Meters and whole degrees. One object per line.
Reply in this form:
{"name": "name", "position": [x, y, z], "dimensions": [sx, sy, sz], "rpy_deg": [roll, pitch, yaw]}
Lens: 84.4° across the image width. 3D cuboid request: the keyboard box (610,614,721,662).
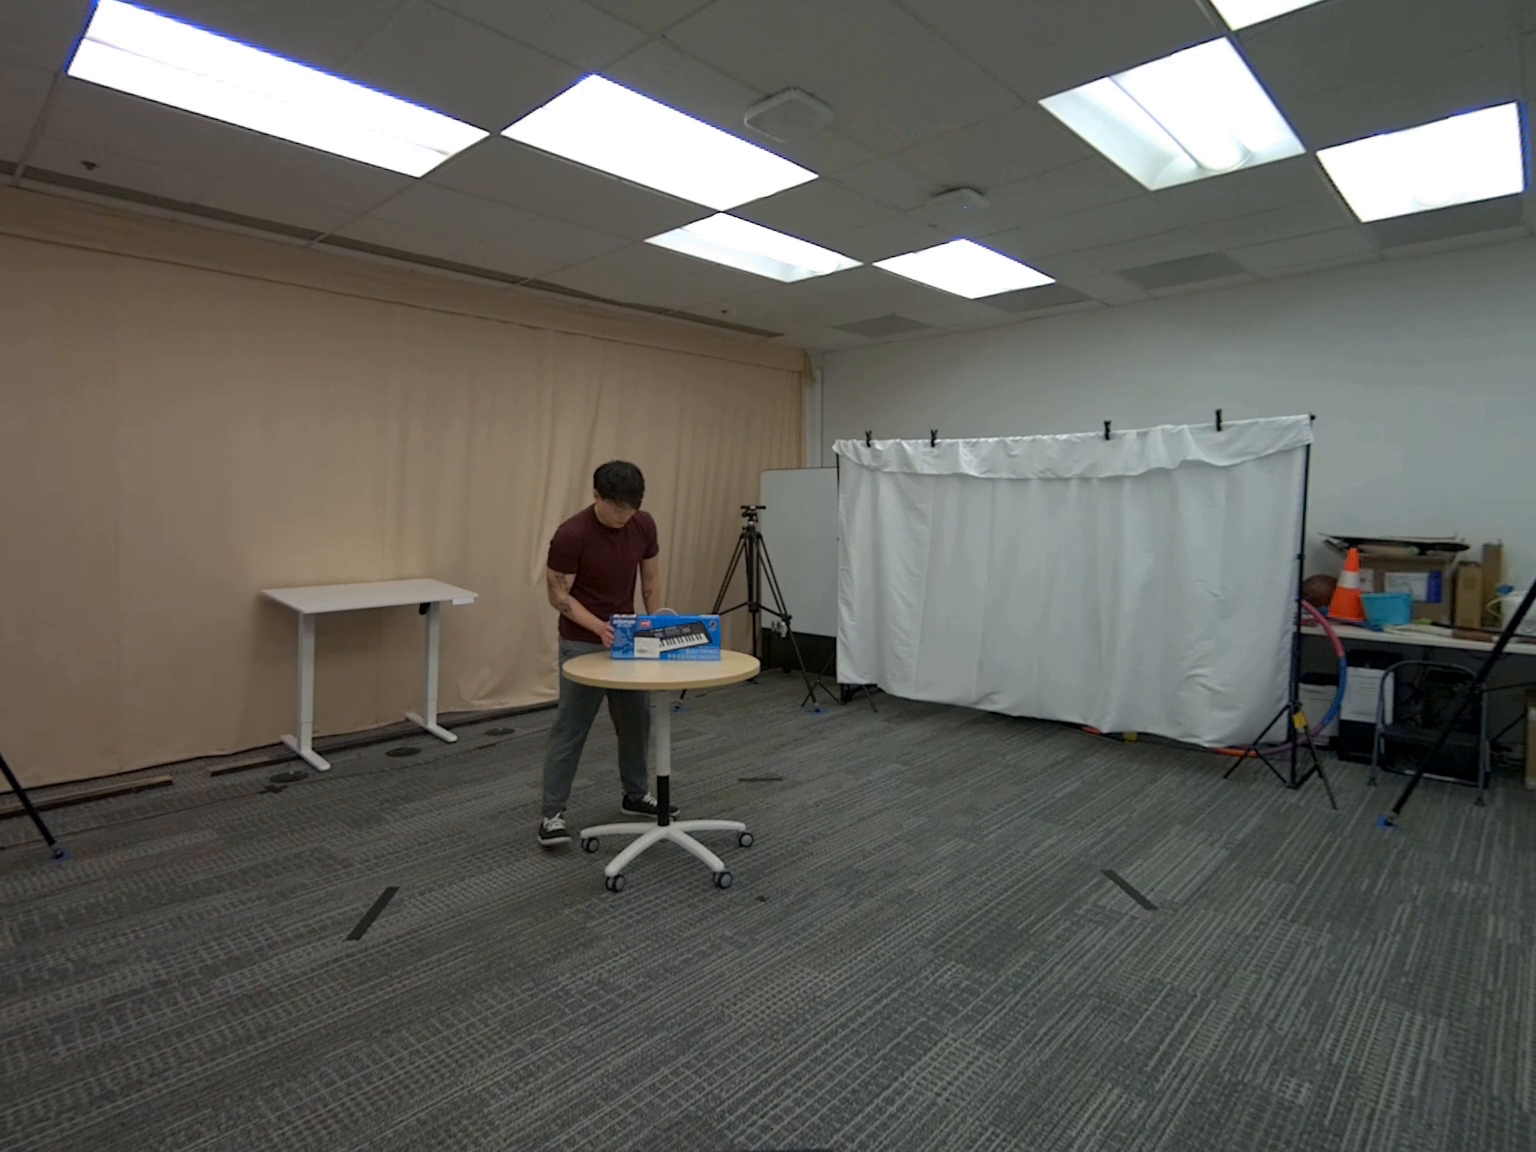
{"name": "keyboard box", "position": [-0.407, 0.247, 3.359], "dimensions": [0.438, 0.175, 0.059], "rpy_deg": [1, 7, 3]}
